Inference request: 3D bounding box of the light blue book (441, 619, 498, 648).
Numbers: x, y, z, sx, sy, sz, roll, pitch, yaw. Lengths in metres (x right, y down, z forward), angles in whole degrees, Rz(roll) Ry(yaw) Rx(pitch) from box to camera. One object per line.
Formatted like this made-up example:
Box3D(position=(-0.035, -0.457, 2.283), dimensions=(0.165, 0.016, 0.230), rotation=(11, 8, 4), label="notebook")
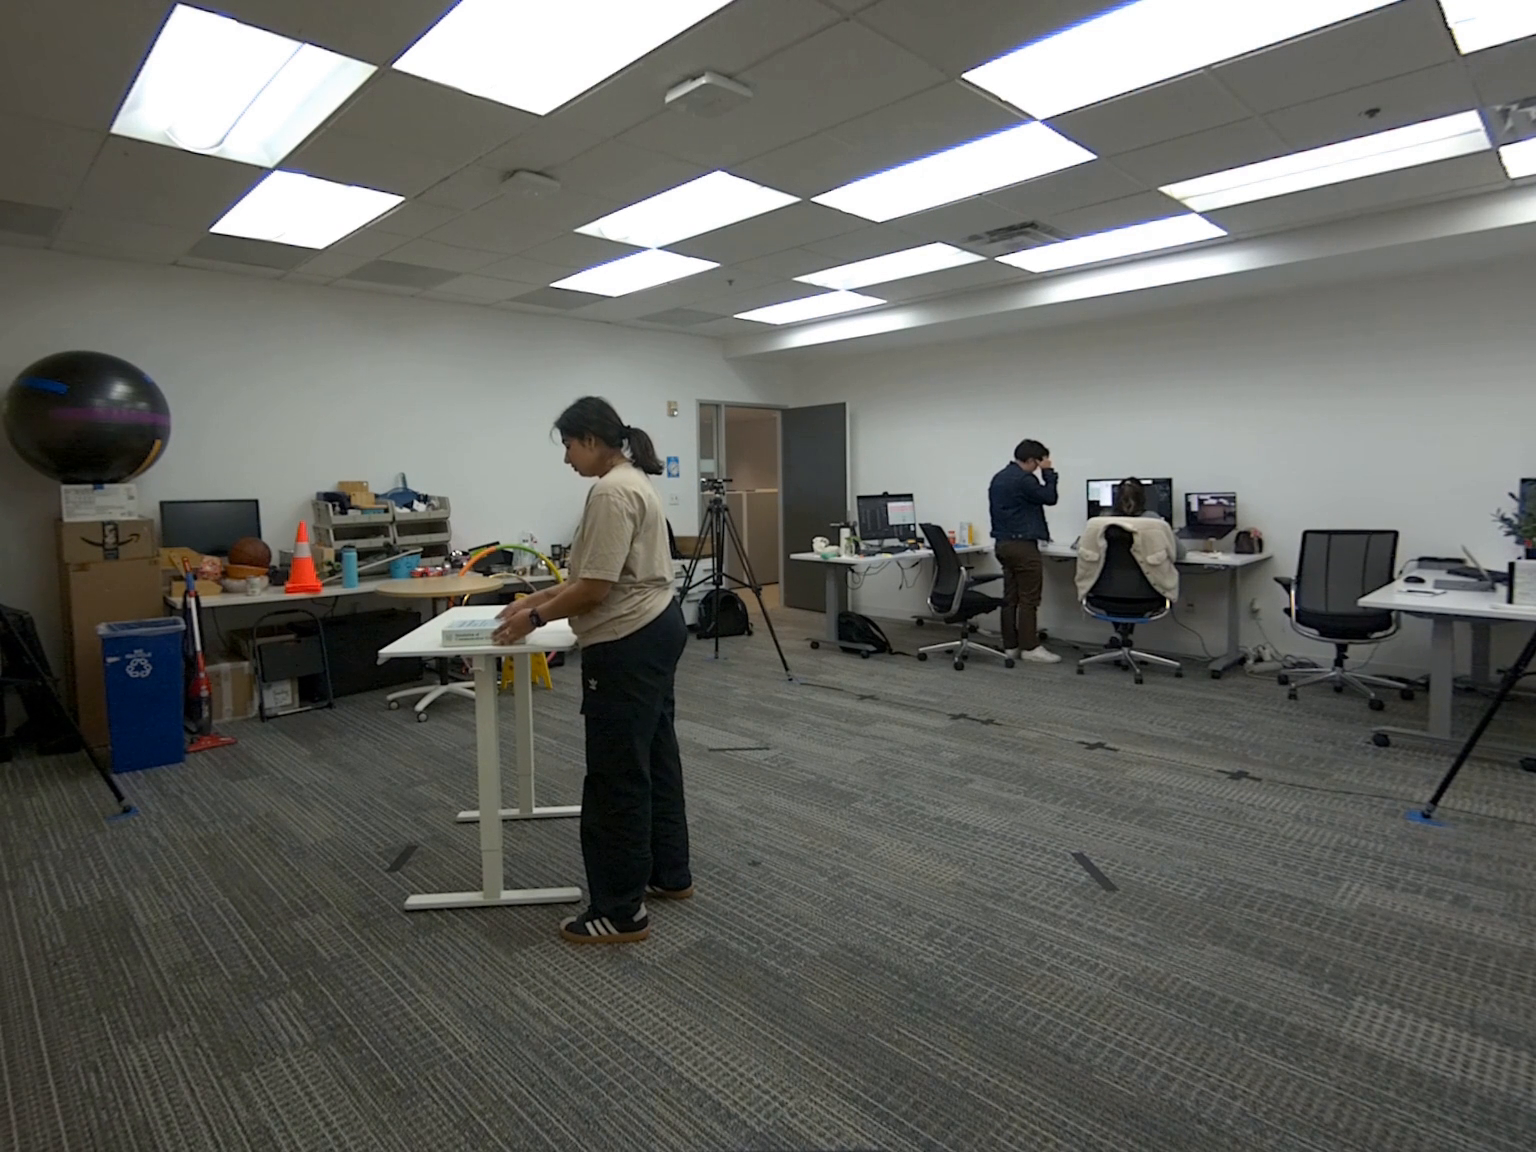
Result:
Box3D(position=(-0.964, 0.186, 2.809), dimensions=(0.189, 0.059, 0.265), rotation=(-3, 7, -14), label="light blue book")
